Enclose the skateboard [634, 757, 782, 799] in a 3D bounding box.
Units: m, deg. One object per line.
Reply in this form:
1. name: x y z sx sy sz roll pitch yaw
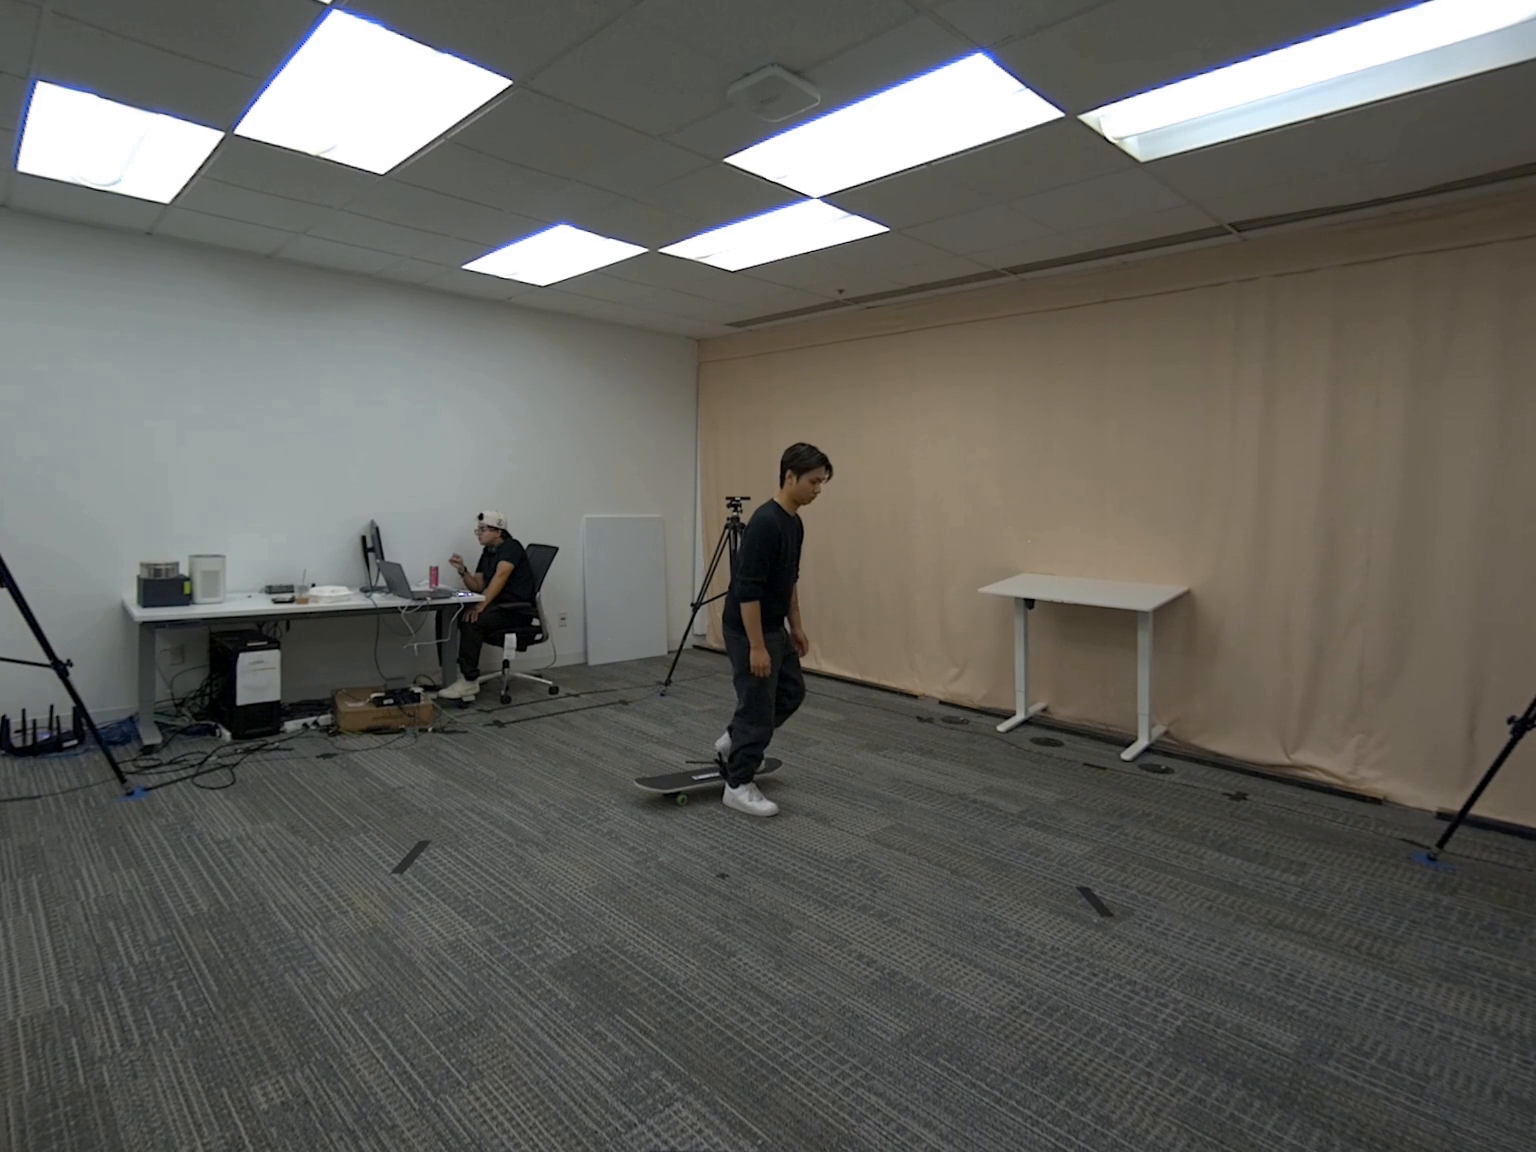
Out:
1. skateboard: -0.281 0.970 3.985 0.769 0.110 0.198 -1 7 -33
